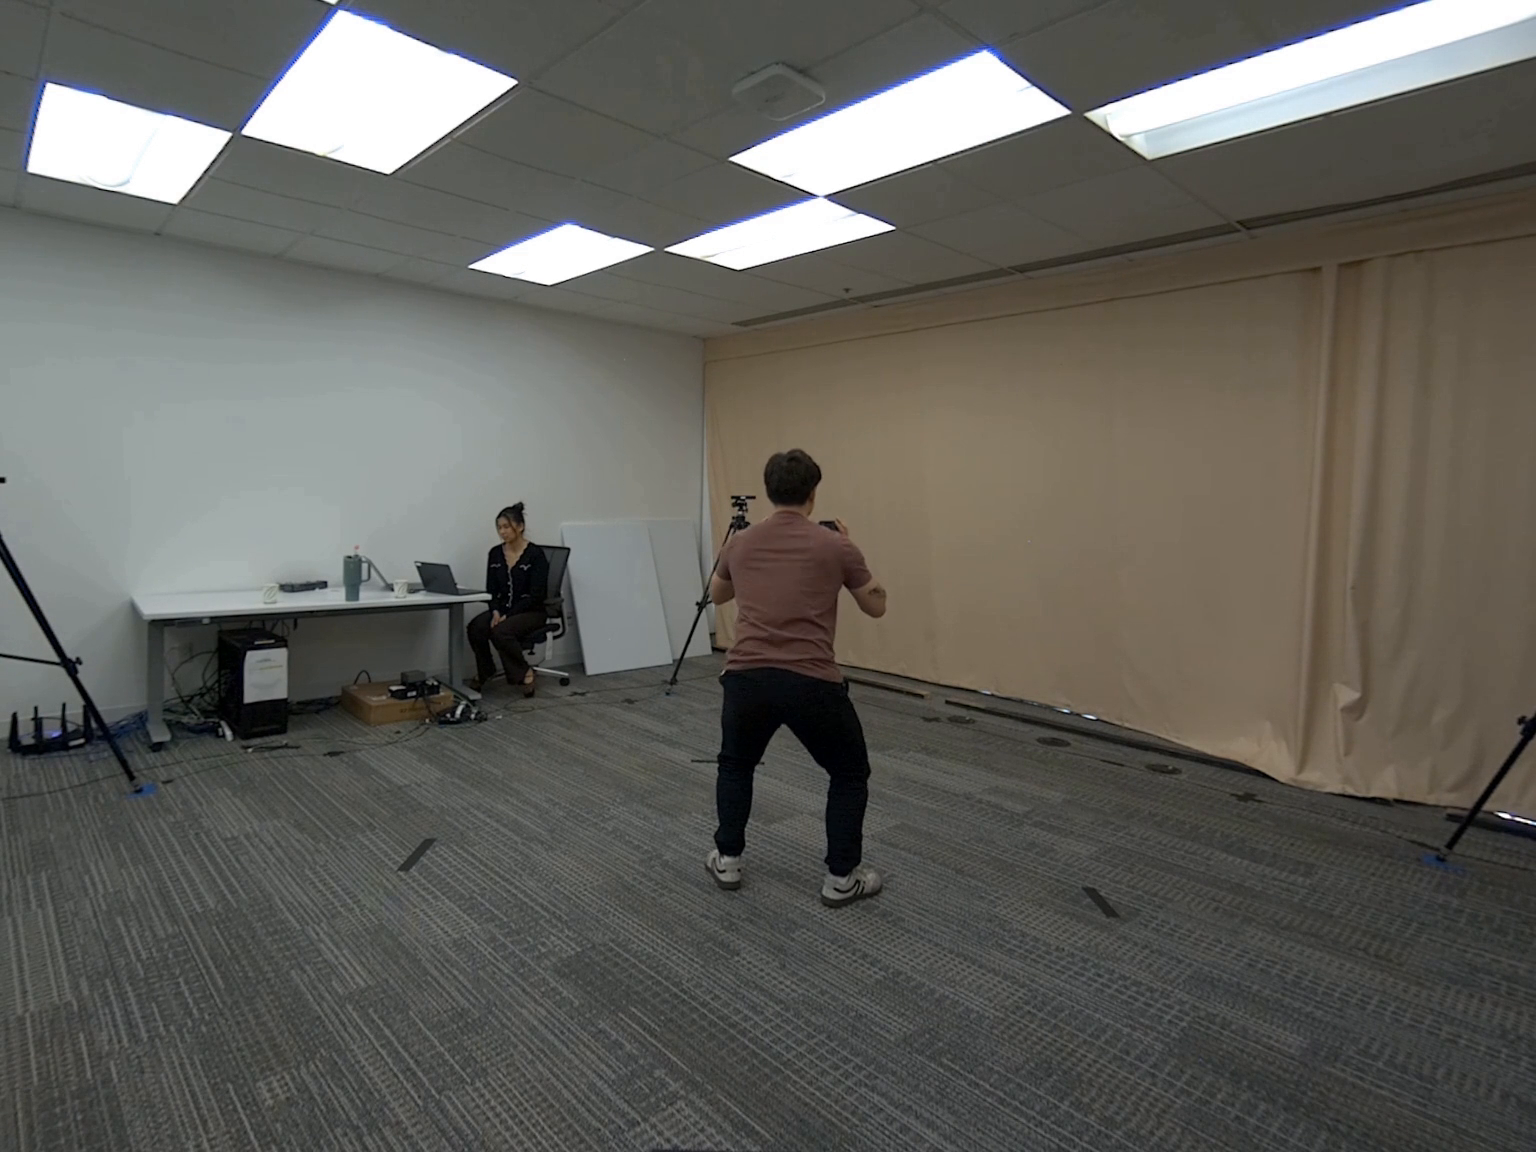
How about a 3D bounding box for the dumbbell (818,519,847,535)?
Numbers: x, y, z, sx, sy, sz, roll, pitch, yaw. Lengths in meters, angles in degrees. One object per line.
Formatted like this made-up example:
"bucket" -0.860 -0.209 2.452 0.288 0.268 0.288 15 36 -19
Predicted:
"dumbbell" 0.154 -0.146 3.106 0.297 0.125 0.105 -7 -30 19
